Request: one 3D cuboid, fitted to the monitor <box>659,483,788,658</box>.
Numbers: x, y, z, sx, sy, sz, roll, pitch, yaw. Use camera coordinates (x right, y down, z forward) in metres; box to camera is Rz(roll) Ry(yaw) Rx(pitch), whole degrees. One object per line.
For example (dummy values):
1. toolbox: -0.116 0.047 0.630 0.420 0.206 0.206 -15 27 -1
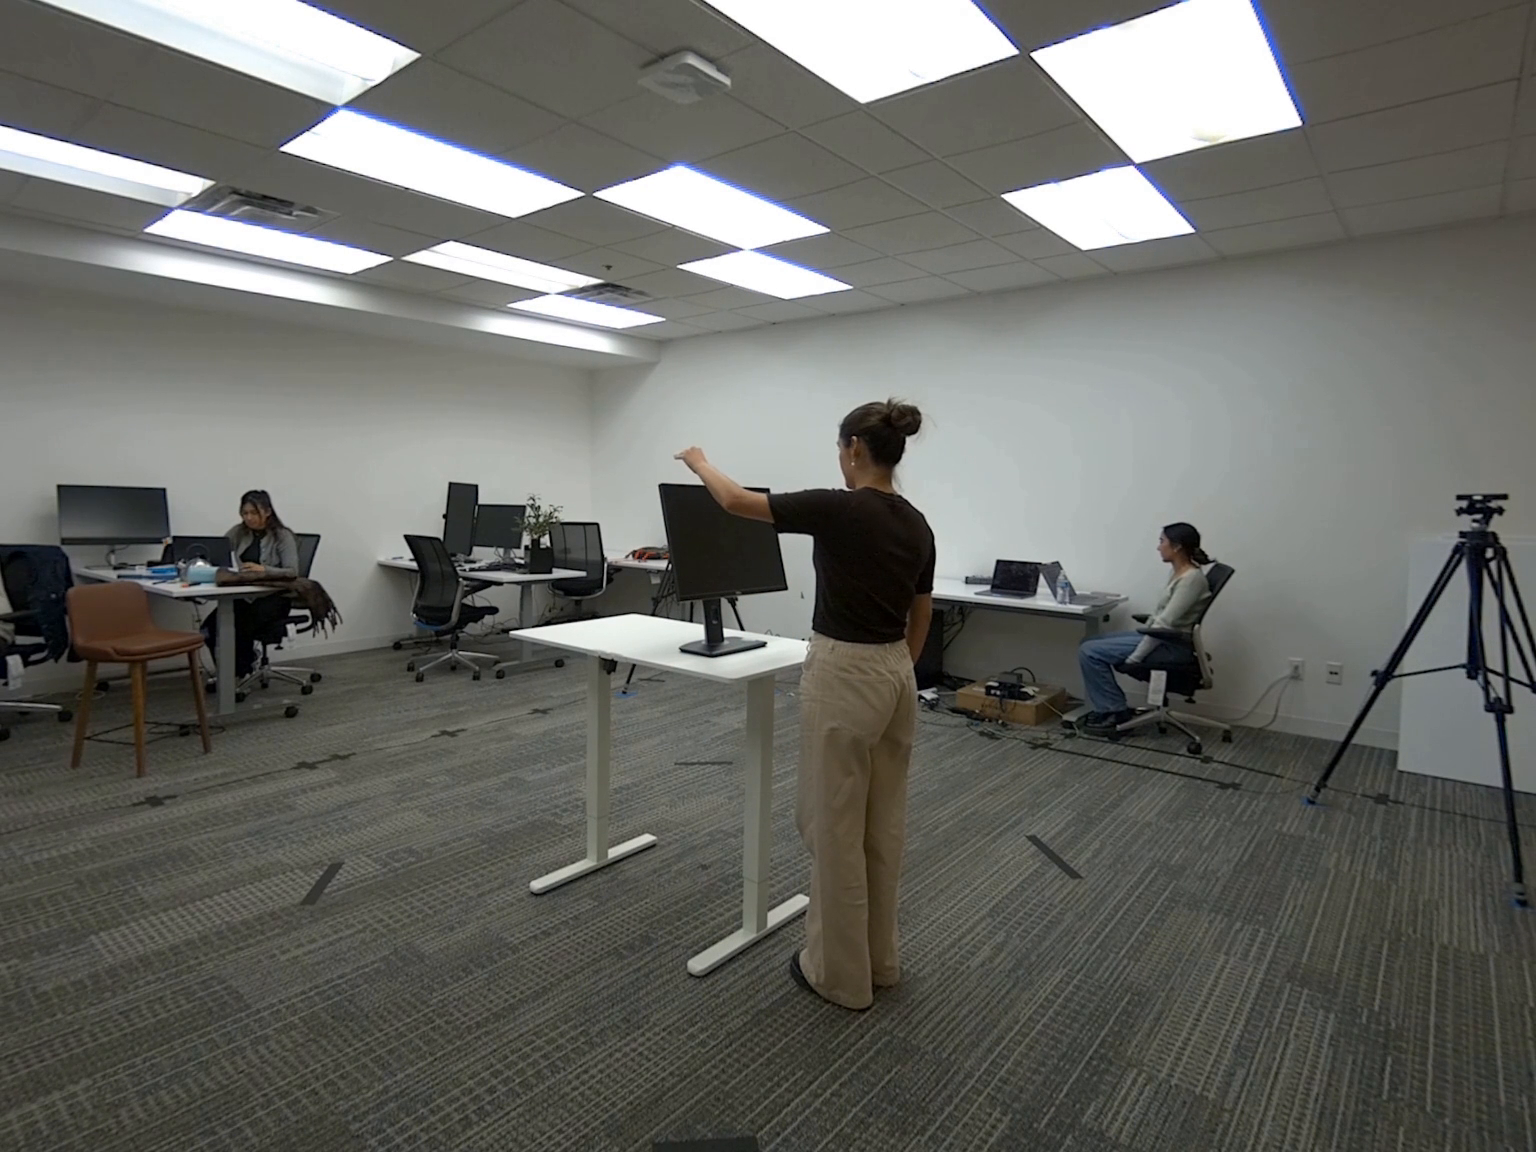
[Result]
1. monitor: -0.158 -0.024 2.686 0.193 0.522 0.523 0 2 36
